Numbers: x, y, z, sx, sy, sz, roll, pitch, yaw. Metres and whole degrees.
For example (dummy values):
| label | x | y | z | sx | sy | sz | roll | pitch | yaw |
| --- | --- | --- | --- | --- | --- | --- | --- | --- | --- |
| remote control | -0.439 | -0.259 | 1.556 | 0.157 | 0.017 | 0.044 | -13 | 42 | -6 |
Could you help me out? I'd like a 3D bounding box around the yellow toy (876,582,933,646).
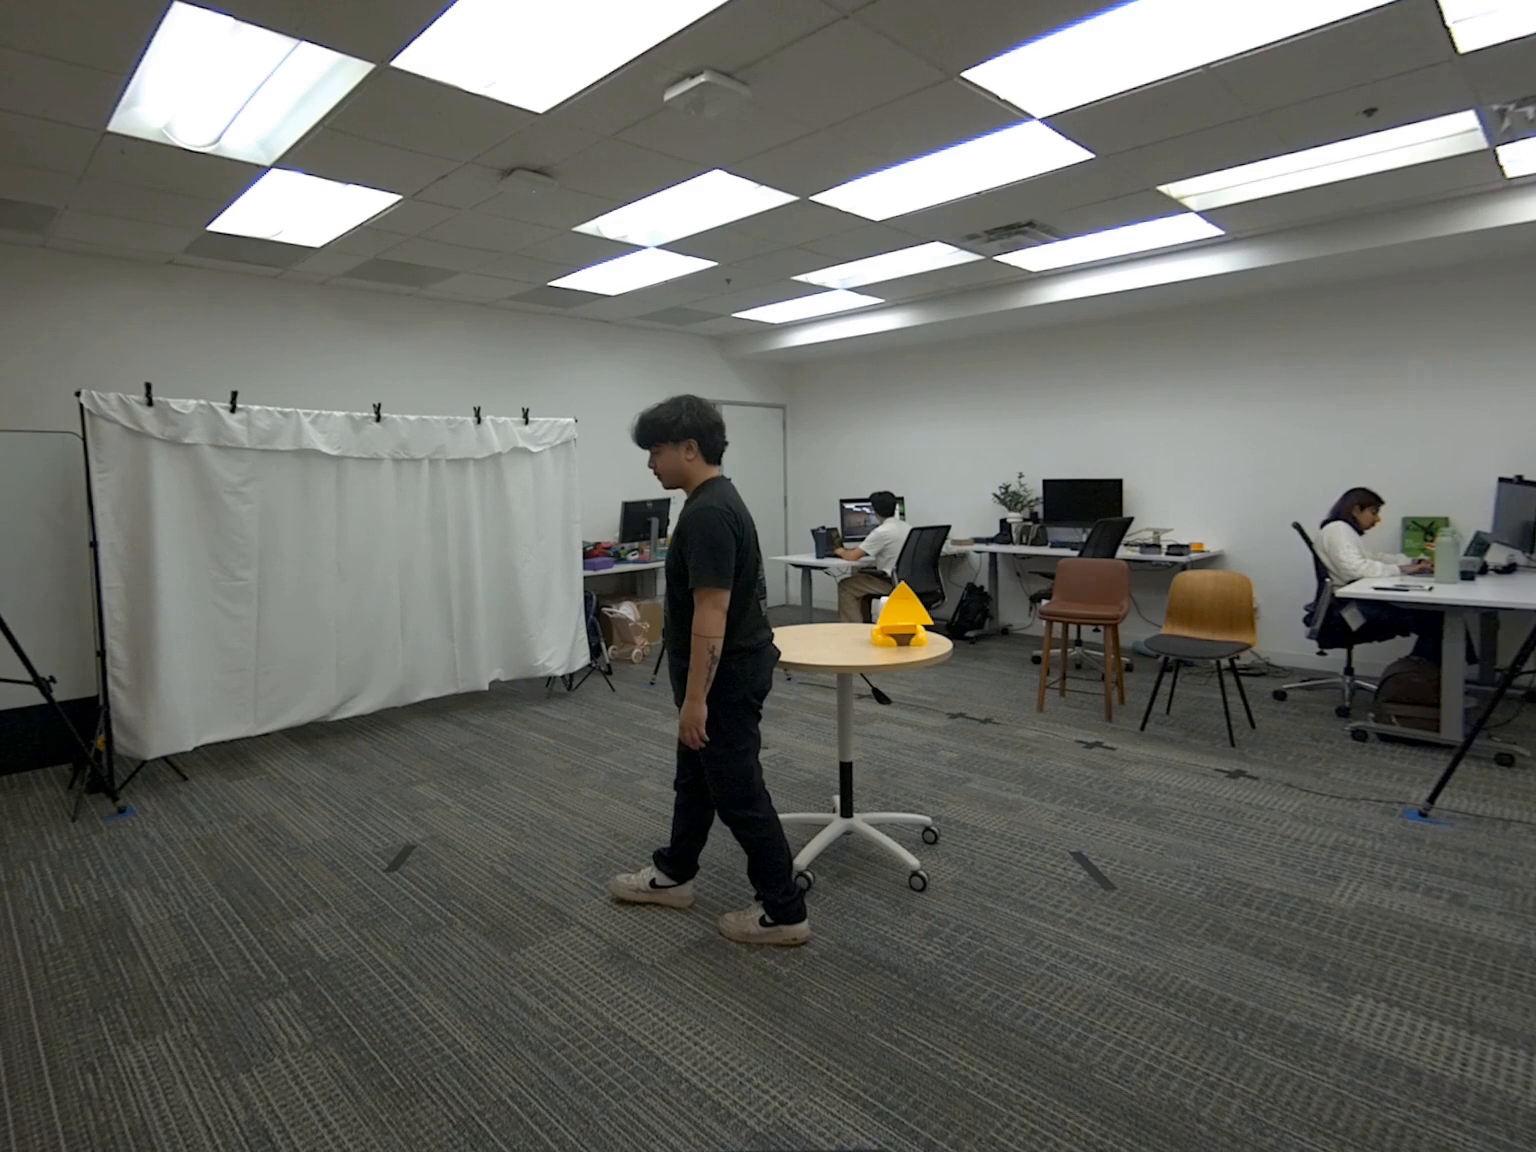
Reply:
| label | x | y | z | sx | sy | sz | roll | pitch | yaw |
| --- | --- | --- | --- | --- | --- | --- | --- | --- | --- |
| yellow toy | 0.476 | 0.125 | 3.088 | 0.204 | 0.230 | 0.194 | -2 | 5 | -3 |
